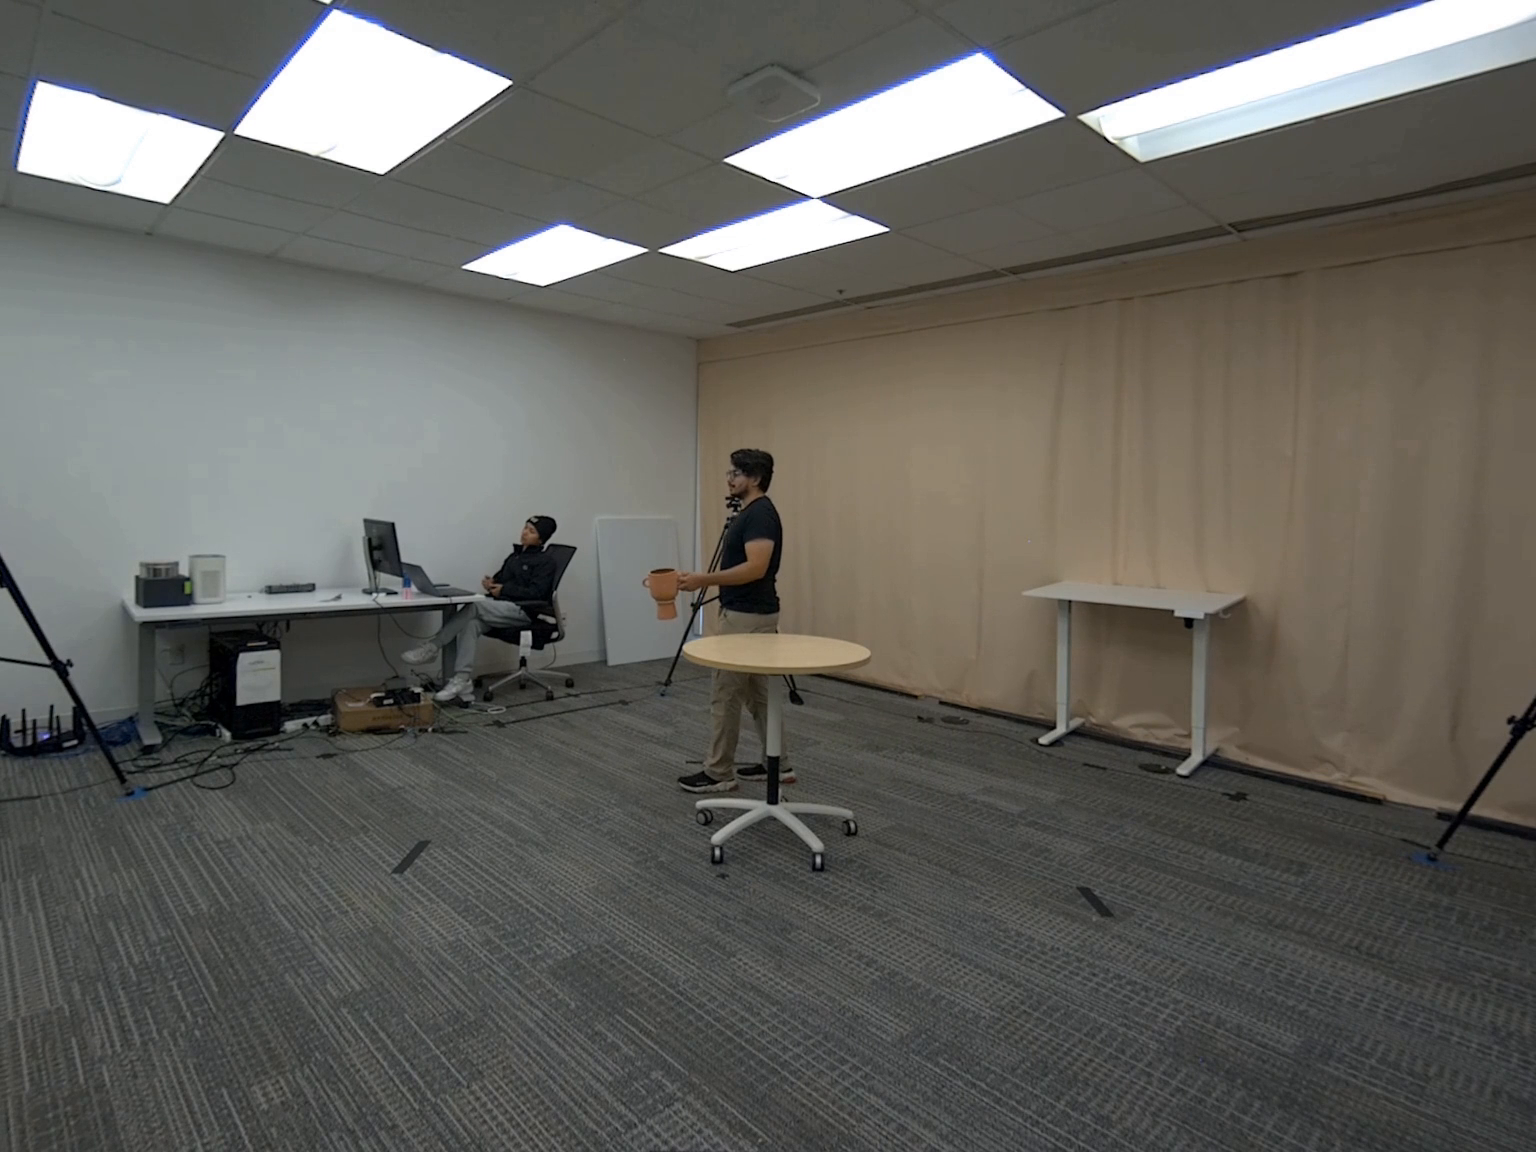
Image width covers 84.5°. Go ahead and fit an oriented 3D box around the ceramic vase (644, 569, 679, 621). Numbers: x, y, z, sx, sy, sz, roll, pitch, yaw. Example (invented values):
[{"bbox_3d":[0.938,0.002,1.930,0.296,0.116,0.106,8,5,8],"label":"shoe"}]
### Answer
[{"bbox_3d":[-0.492,0.083,3.901,0.163,0.218,0.132,8,15,44],"label":"ceramic vase"}]
